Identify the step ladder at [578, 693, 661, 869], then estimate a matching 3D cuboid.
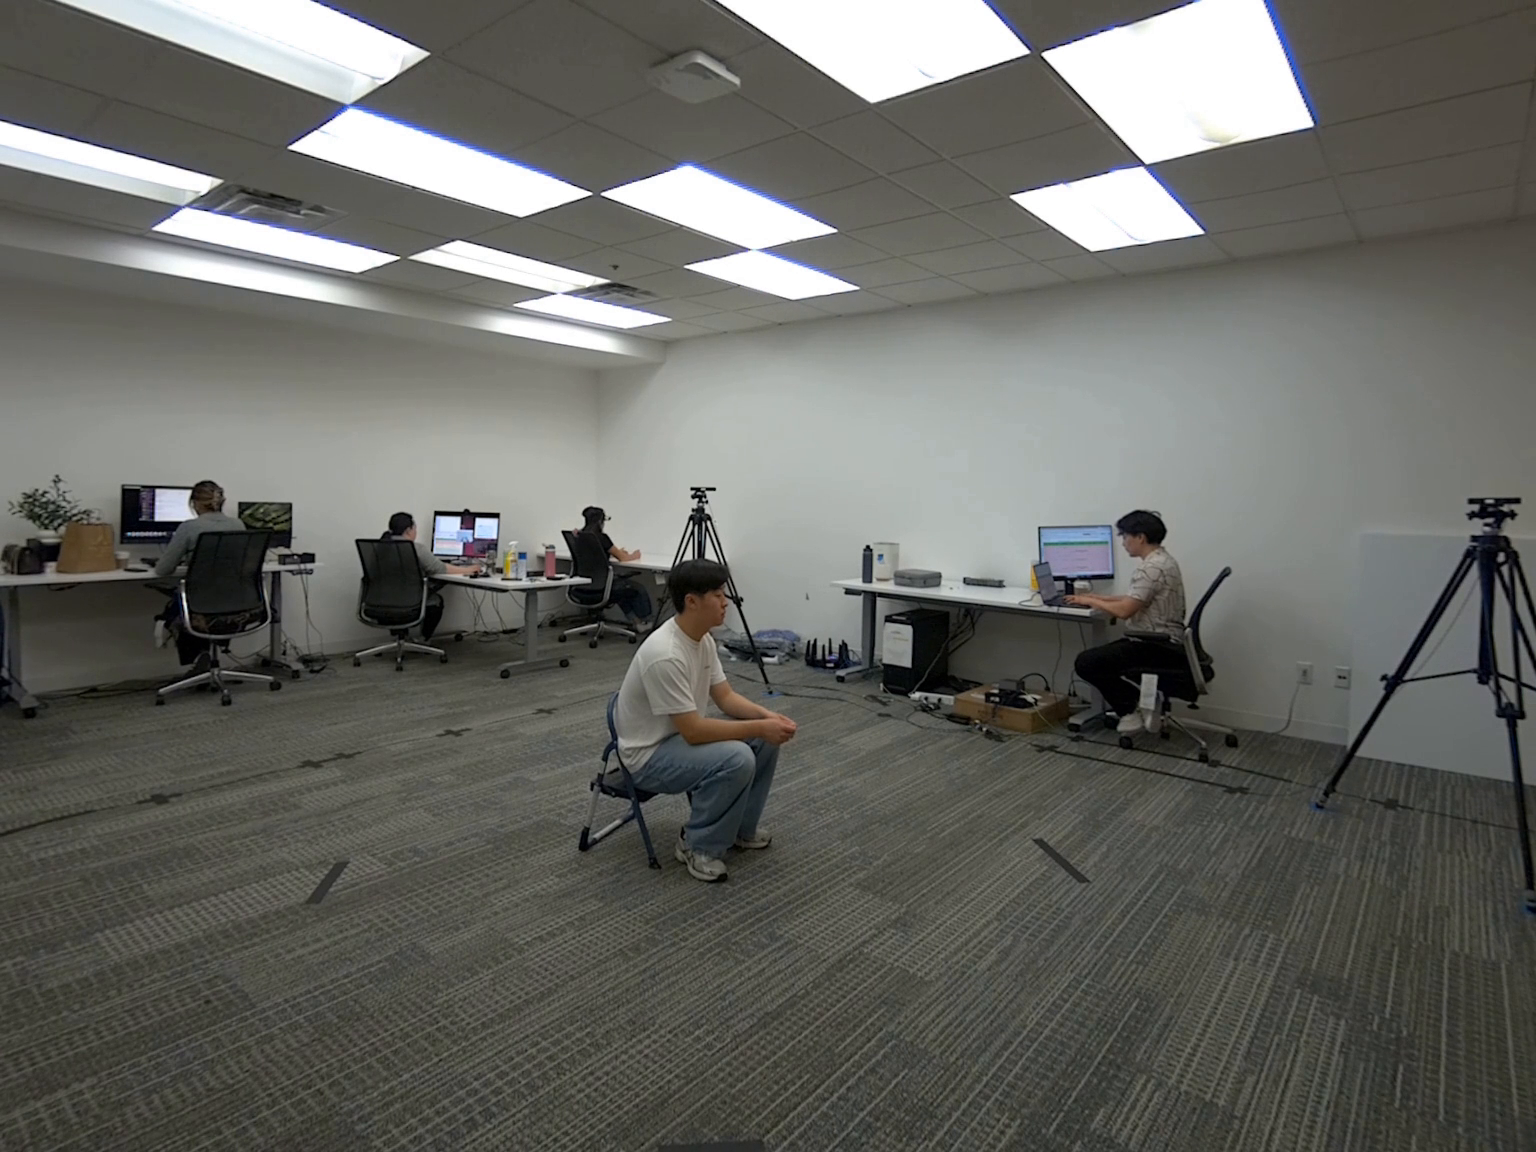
[{"bbox_3d":[-0.501,0.739,3.347,0.358,0.605,0.421,2,3,22],"label":"step ladder"}]
